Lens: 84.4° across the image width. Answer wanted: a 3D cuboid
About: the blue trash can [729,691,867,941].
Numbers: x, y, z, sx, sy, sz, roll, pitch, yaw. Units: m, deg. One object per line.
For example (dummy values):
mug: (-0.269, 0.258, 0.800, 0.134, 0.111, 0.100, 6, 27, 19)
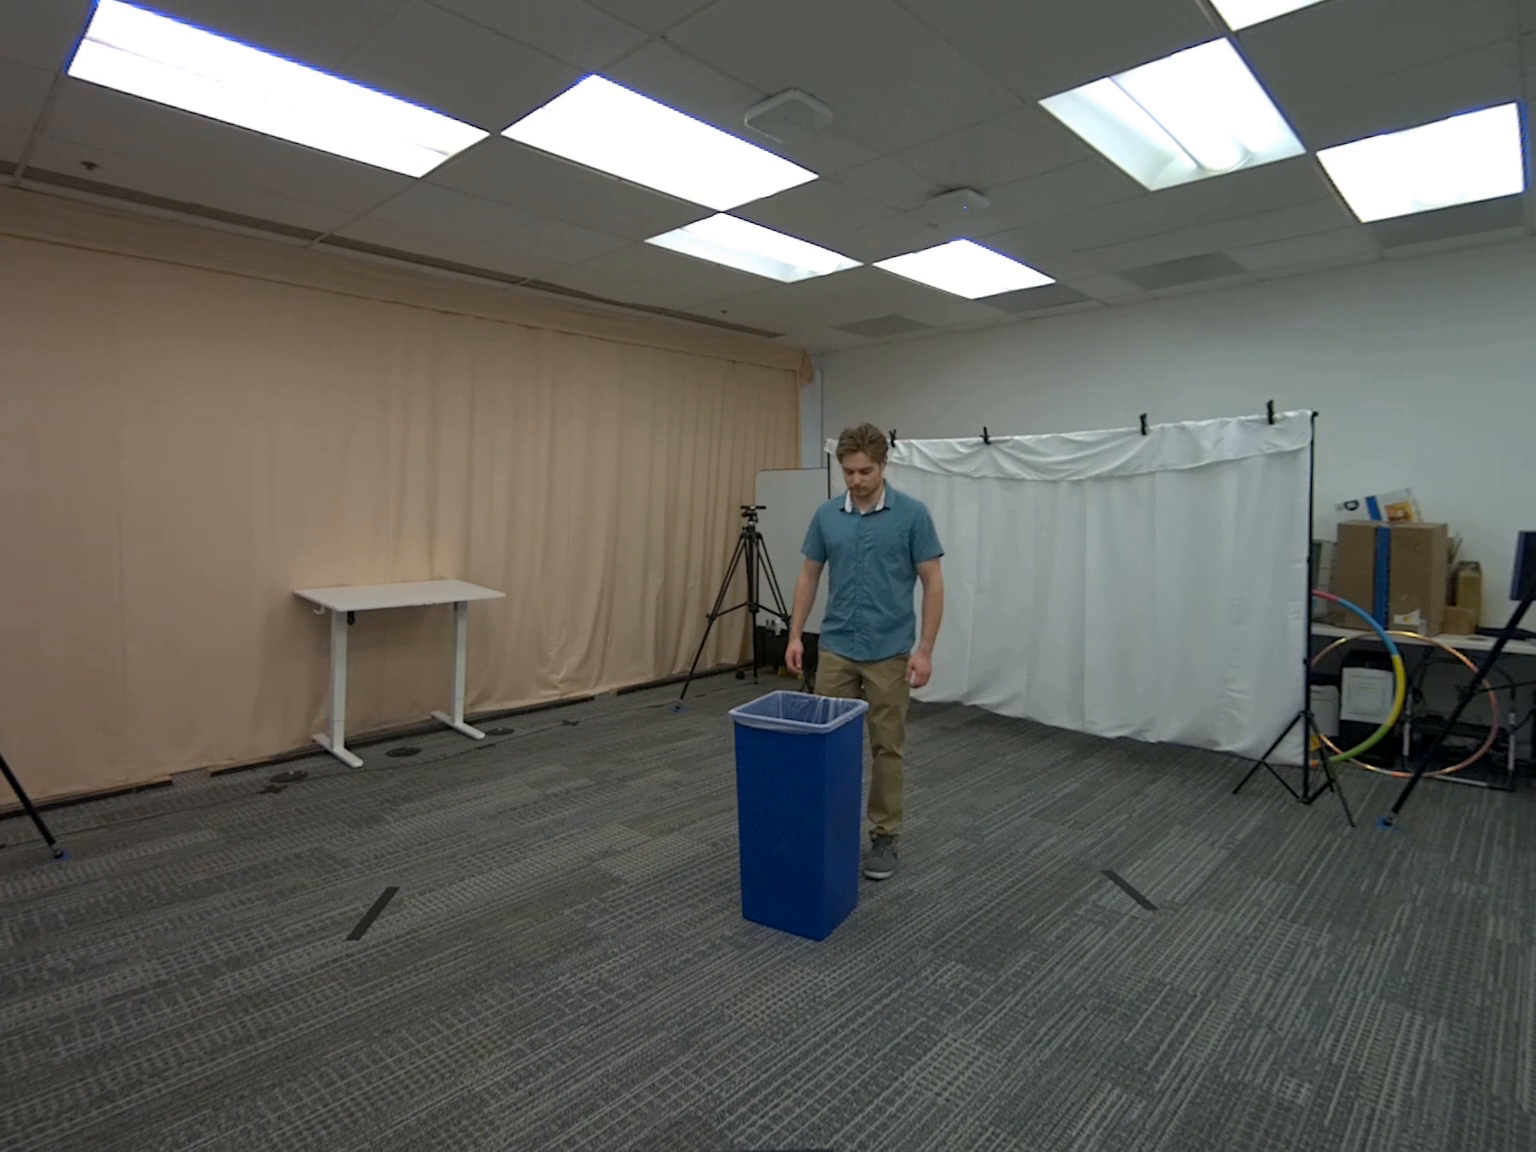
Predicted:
blue trash can: (0.111, 0.798, 2.858, 0.389, 0.712, 0.364, 2, 4, 31)
